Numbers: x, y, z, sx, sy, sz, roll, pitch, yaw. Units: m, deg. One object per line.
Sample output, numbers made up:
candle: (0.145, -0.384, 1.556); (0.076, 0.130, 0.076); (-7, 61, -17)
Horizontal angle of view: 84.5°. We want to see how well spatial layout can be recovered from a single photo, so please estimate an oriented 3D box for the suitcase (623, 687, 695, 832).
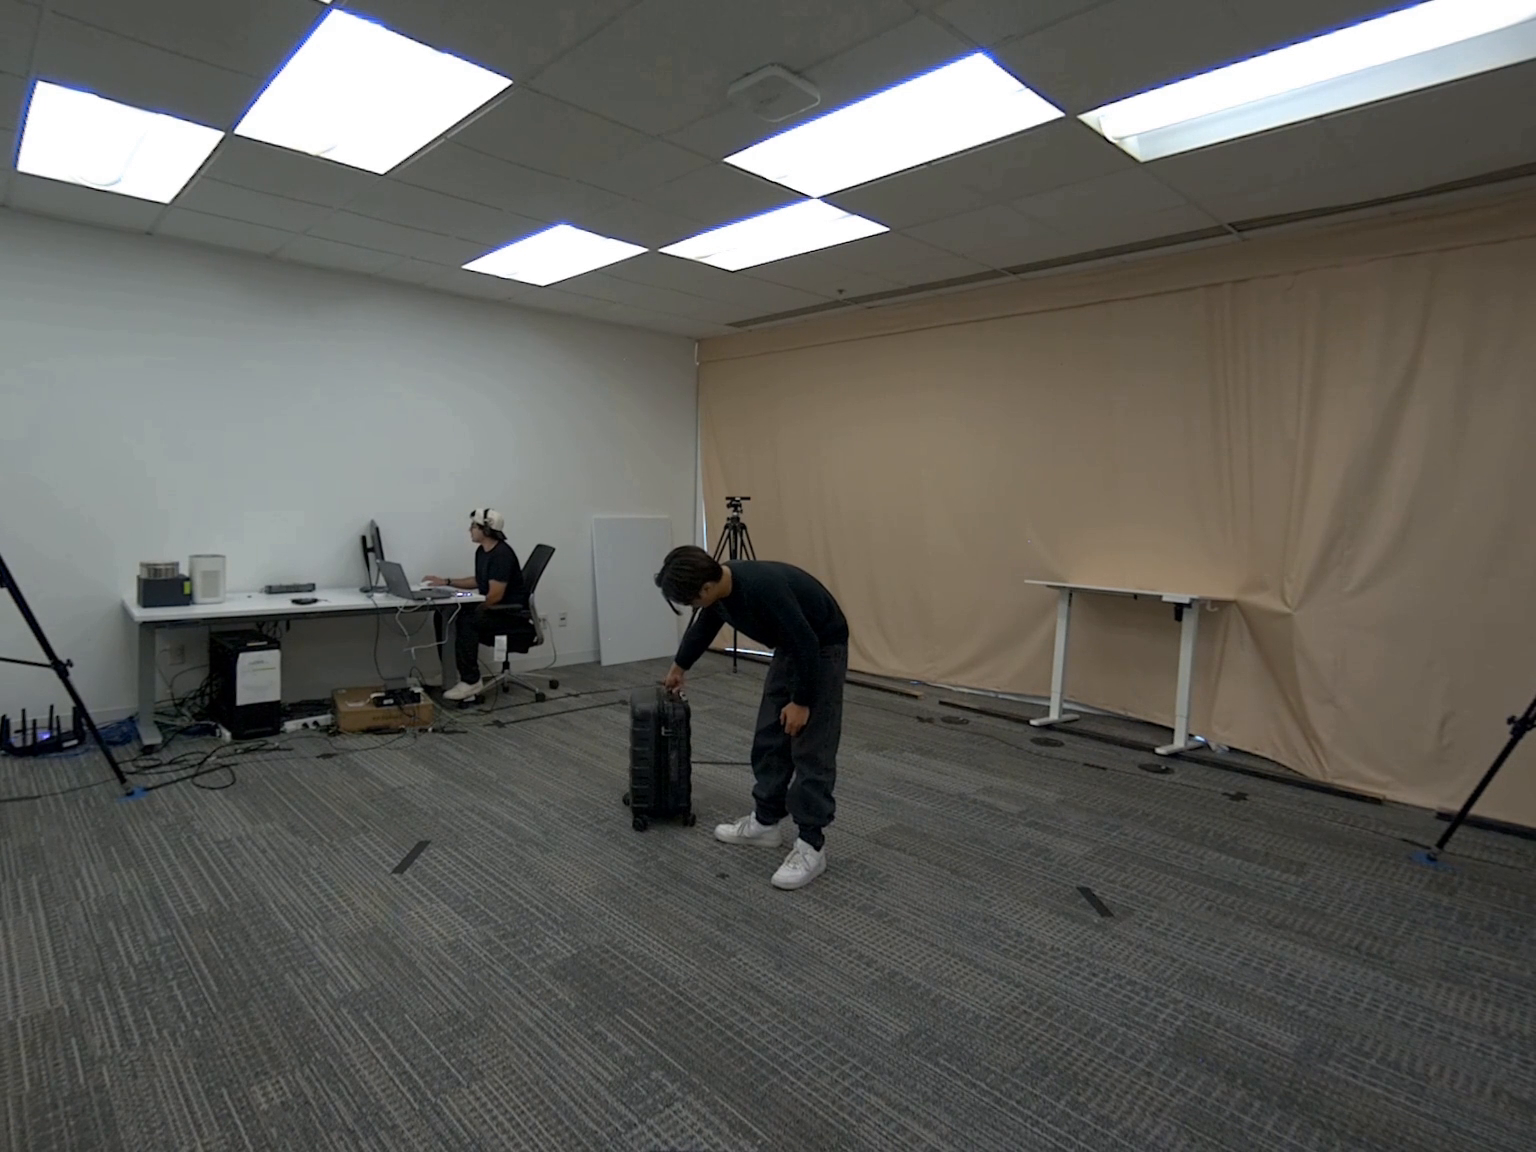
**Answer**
suitcase: (-0.484, 0.774, 3.676); (0.246, 0.548, 0.379); (0, 3, -11)
